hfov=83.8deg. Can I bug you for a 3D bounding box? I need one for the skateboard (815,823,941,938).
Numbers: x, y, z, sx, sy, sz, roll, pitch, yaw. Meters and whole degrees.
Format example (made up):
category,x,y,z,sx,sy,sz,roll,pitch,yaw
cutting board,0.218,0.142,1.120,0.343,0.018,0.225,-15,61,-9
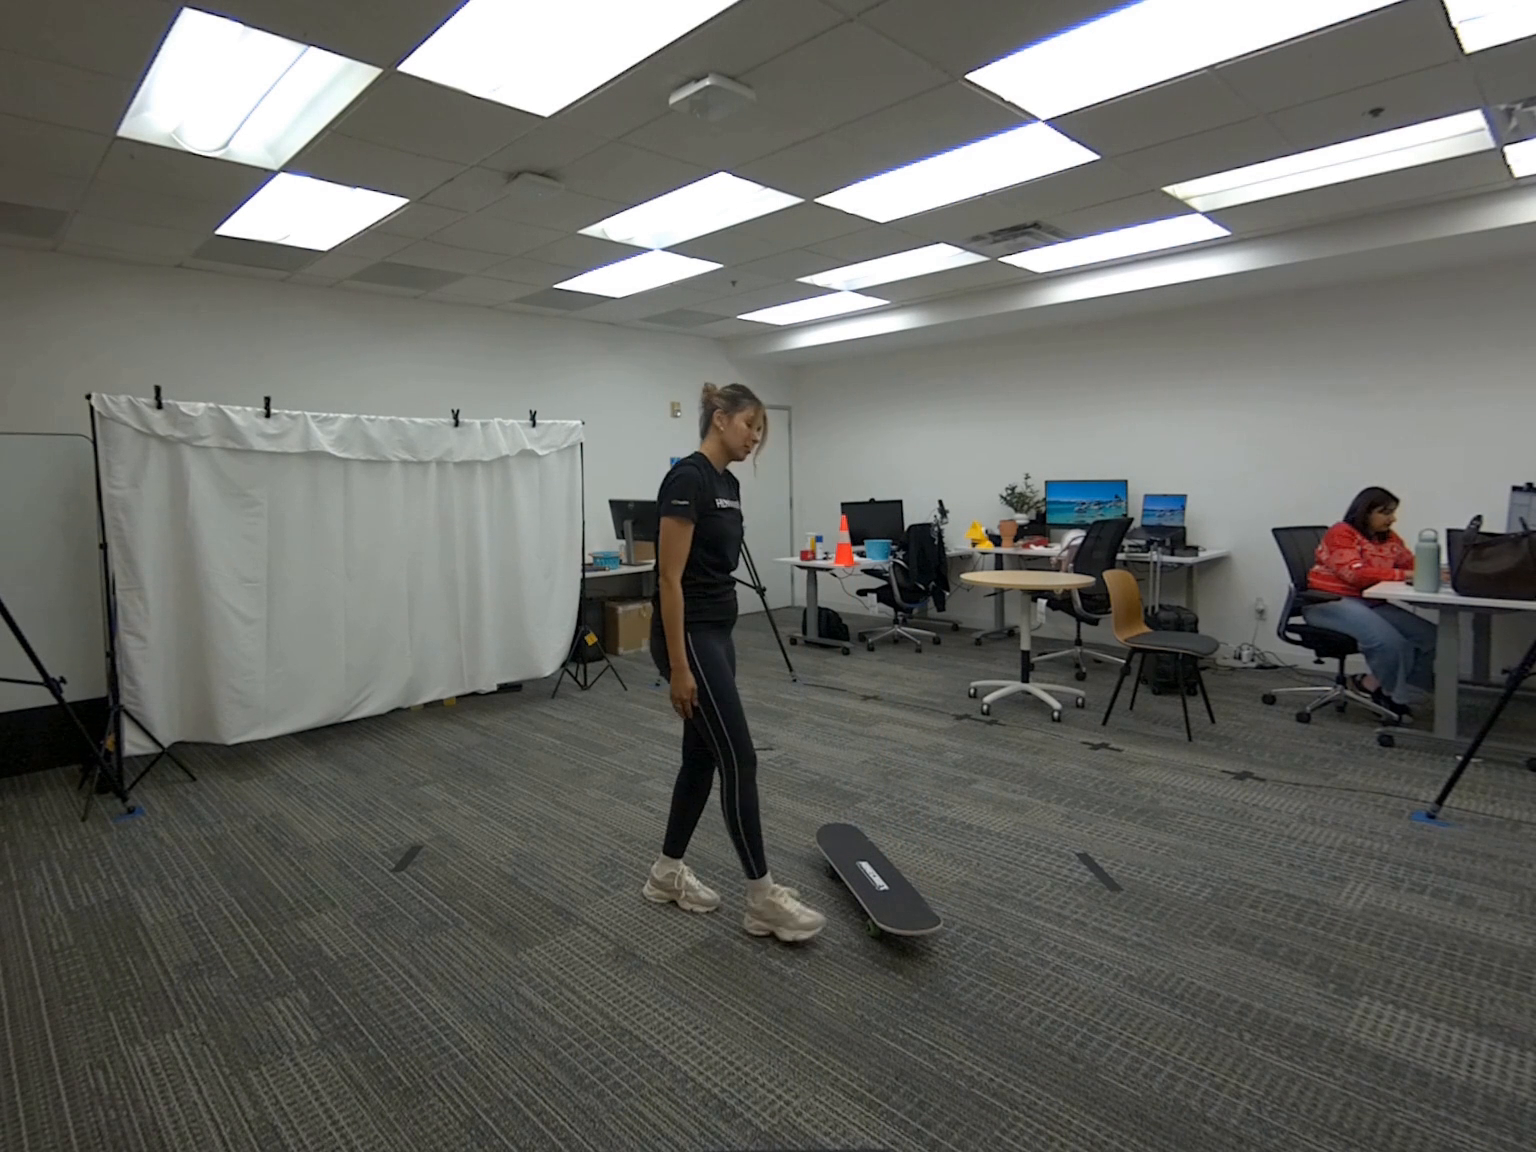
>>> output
category,x,y,z,sx,sy,sz,roll,pitch,yaw
skateboard,0.347,1.015,2.815,0.191,0.110,0.798,-3,7,-14
